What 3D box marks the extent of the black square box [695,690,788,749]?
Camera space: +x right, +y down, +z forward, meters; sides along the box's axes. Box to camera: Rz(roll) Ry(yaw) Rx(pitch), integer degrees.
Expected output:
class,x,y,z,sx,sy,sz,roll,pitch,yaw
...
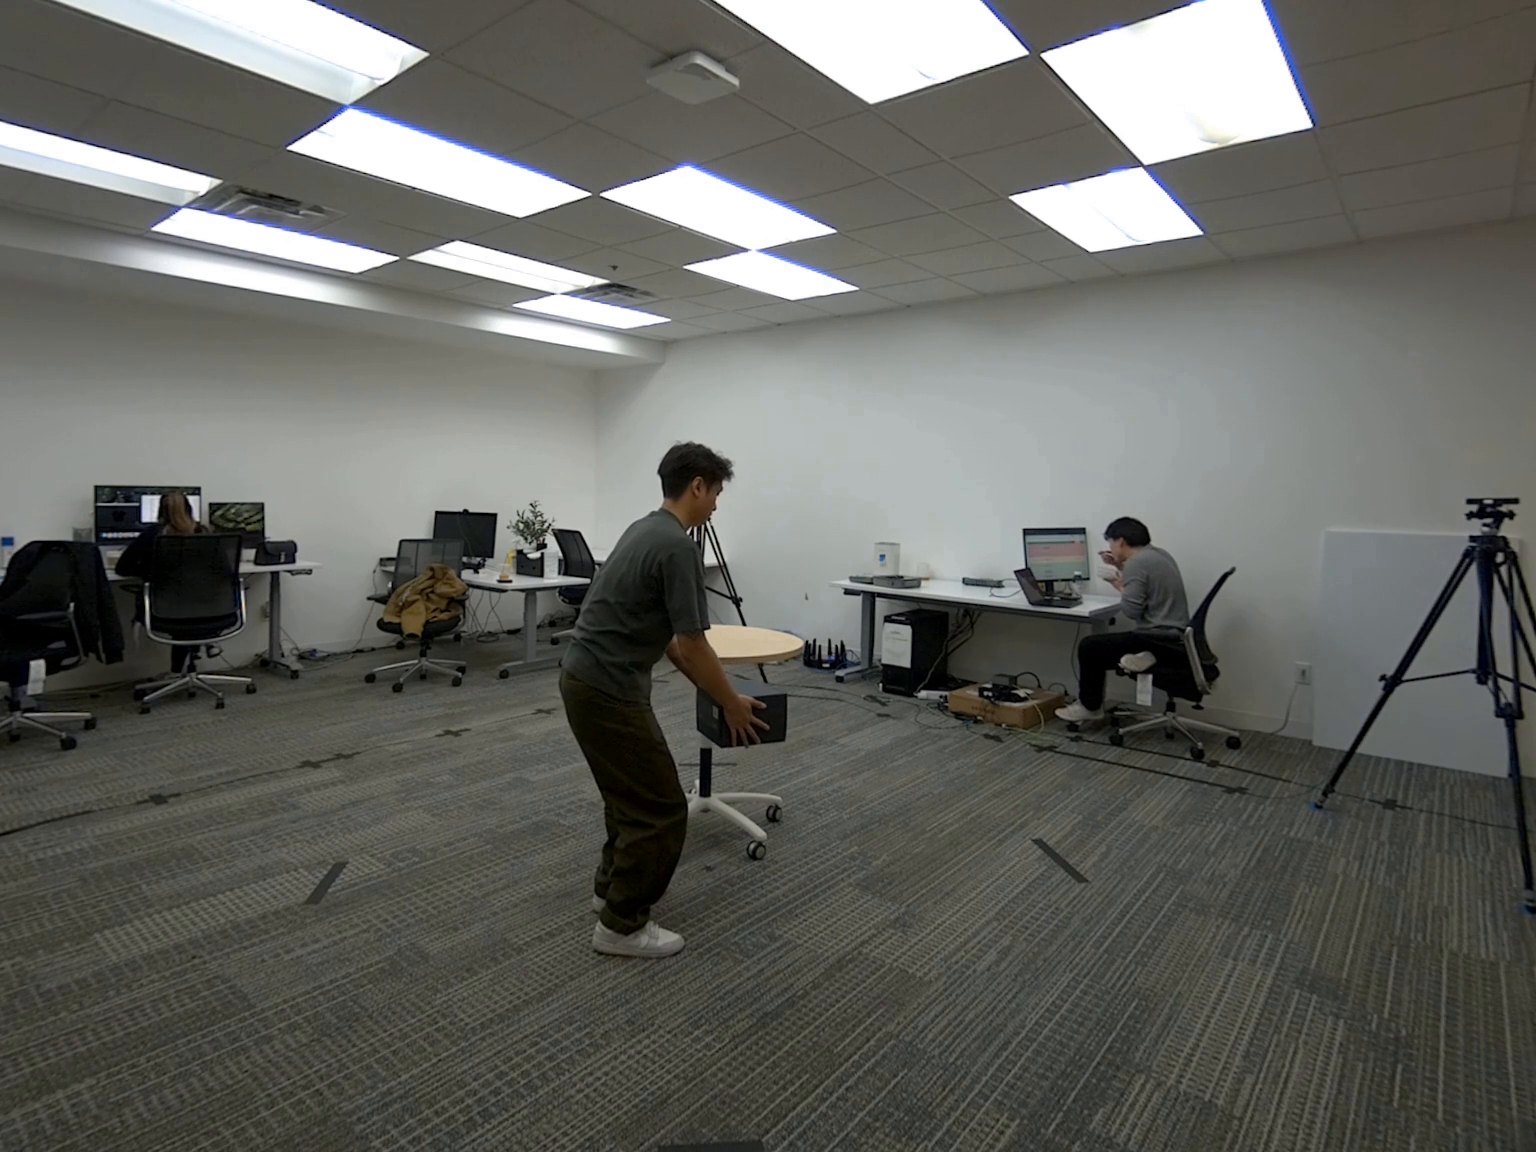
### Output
class,x,y,z,sx,sy,sz,roll,pitch,yaw
black square box,-0.104,0.441,2.764,0.223,0.155,0.223,-2,6,-22
